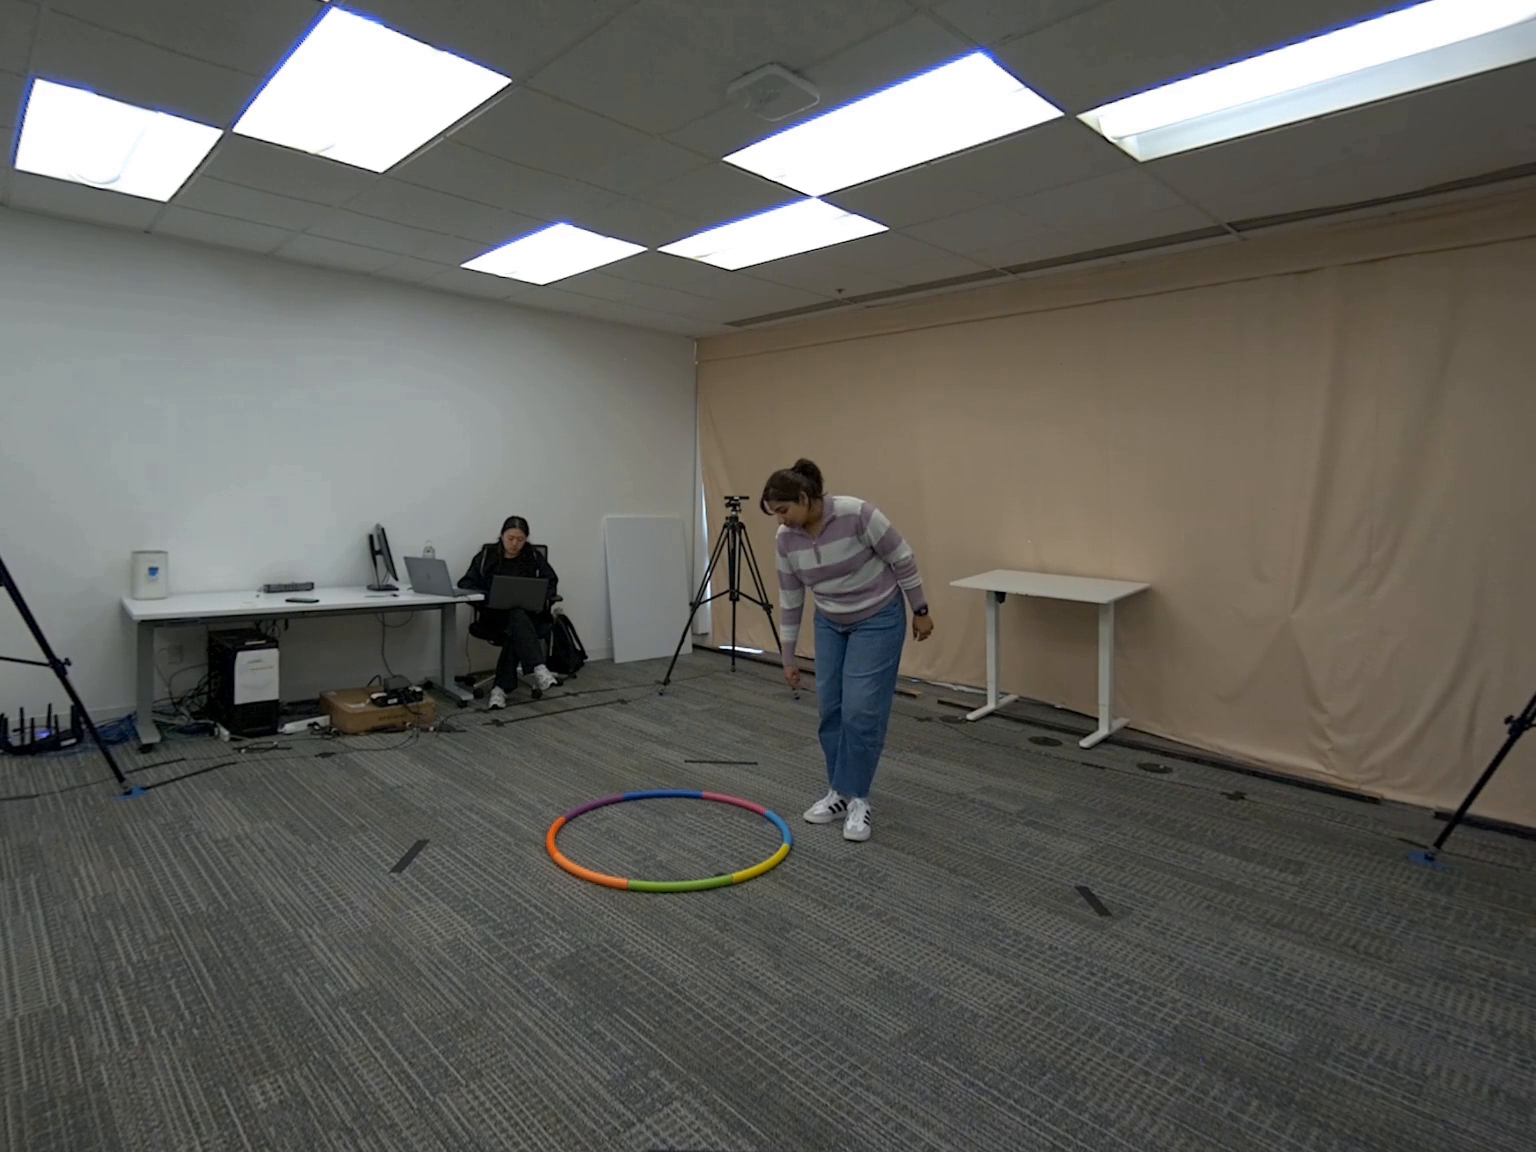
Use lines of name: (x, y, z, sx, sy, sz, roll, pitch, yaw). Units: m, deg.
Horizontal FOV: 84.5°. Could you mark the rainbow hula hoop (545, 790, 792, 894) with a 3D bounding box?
rainbow hula hoop: (-0.404, 1.043, 3.429, 0.985, 0.051, 0.989, 1, 5, -1)
